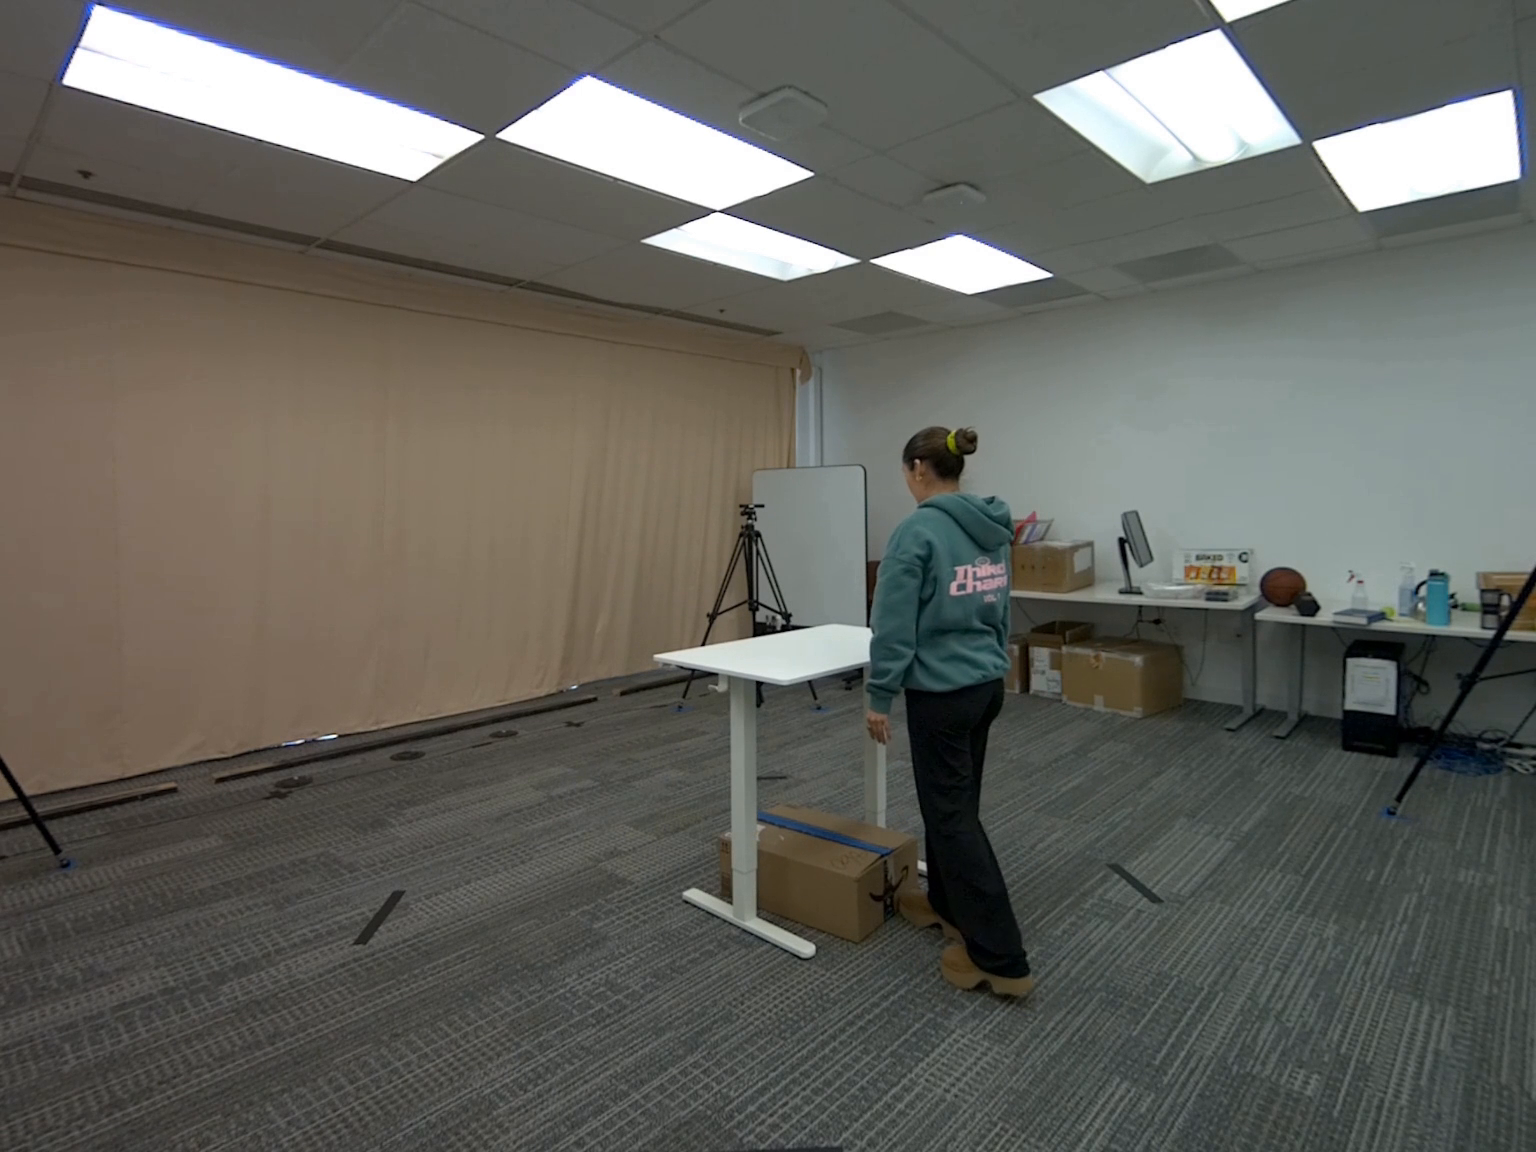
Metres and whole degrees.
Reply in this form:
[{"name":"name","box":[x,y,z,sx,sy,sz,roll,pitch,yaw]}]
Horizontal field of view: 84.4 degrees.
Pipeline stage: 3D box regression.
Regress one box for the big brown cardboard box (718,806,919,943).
[{"name":"big brown cardboard box","box":[0.177,1.020,2.986,0.608,0.232,0.405,4,7,38]}]
